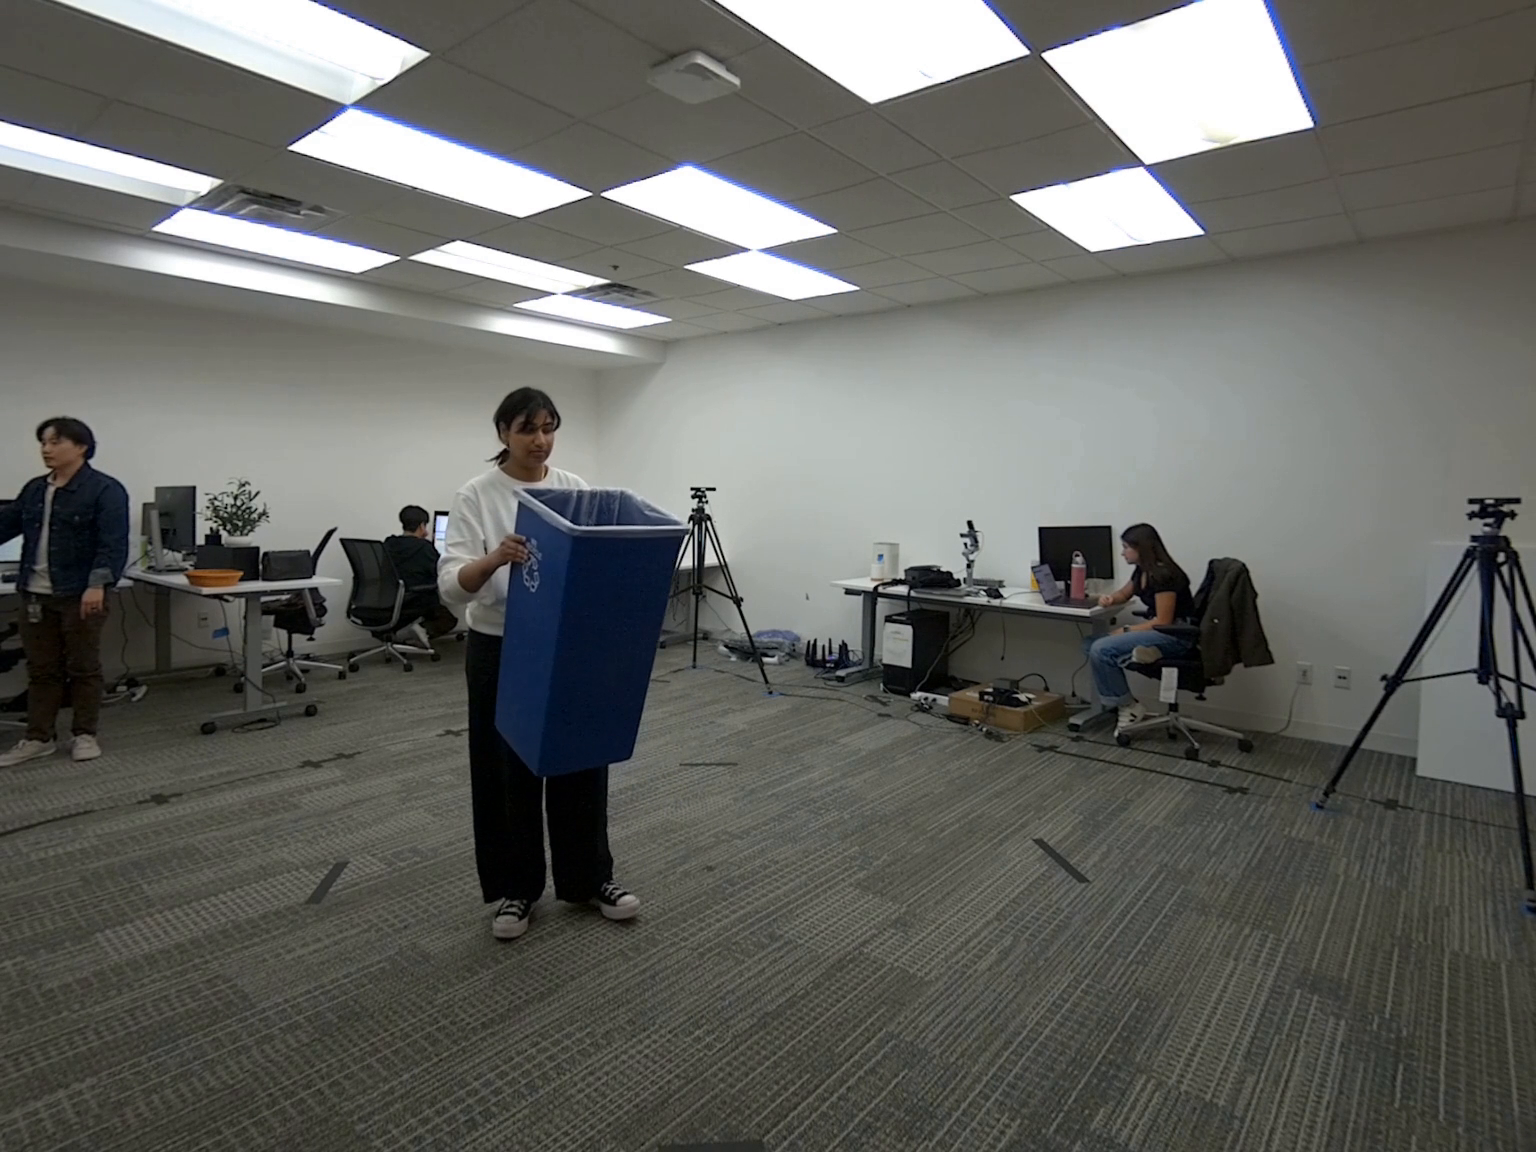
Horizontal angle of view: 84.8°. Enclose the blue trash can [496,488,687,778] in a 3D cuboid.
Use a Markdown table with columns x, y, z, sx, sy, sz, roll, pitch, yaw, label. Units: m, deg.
| x | y | z | sx | sy | sz | roll | pitch | yaw | label |
| --- | --- | --- | --- | --- | --- | --- | --- | --- | --- |
| -0.518 | 0.145 | 2.352 | 0.367 | 0.706 | 0.389 | -3 | 21 | -44 | blue trash can |
